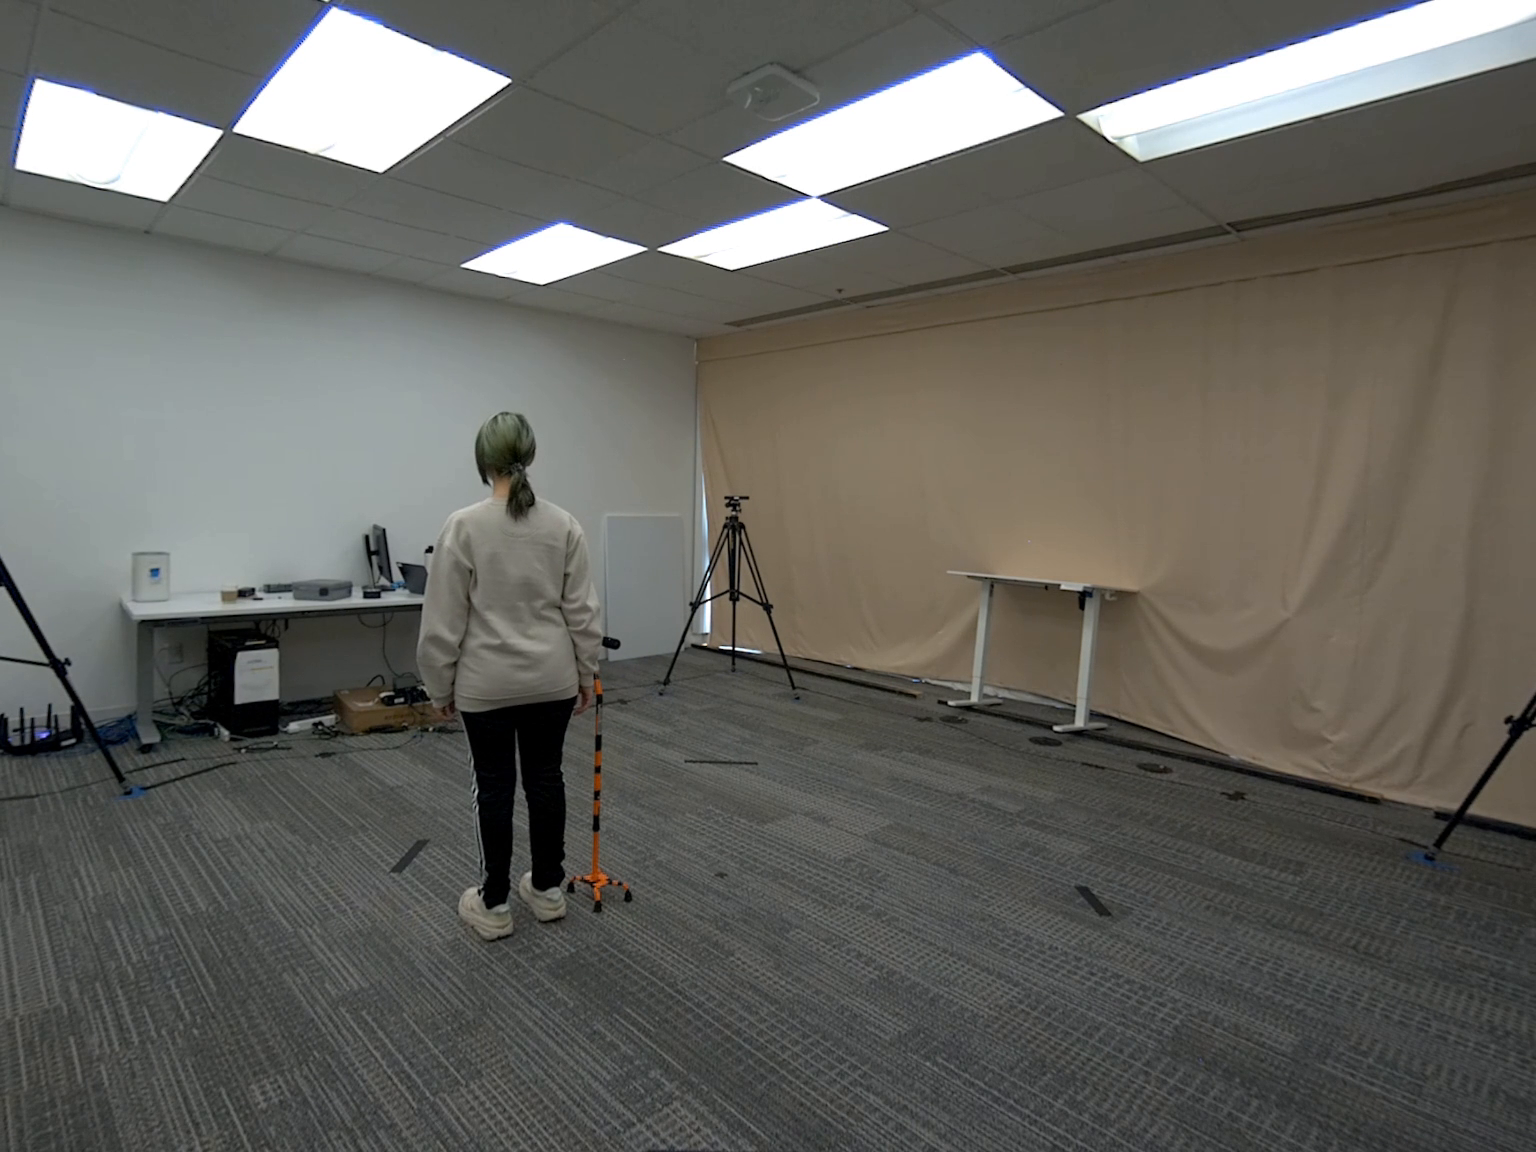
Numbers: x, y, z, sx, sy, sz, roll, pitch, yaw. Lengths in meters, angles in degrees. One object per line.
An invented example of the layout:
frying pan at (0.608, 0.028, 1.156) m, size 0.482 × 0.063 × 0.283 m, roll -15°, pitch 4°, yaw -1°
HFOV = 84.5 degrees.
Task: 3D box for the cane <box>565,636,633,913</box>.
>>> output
cane at (-0.581, 0.659, 2.894) m, size 0.148 × 0.906 × 0.211 m, roll -2°, pitch 4°, yaw -40°
